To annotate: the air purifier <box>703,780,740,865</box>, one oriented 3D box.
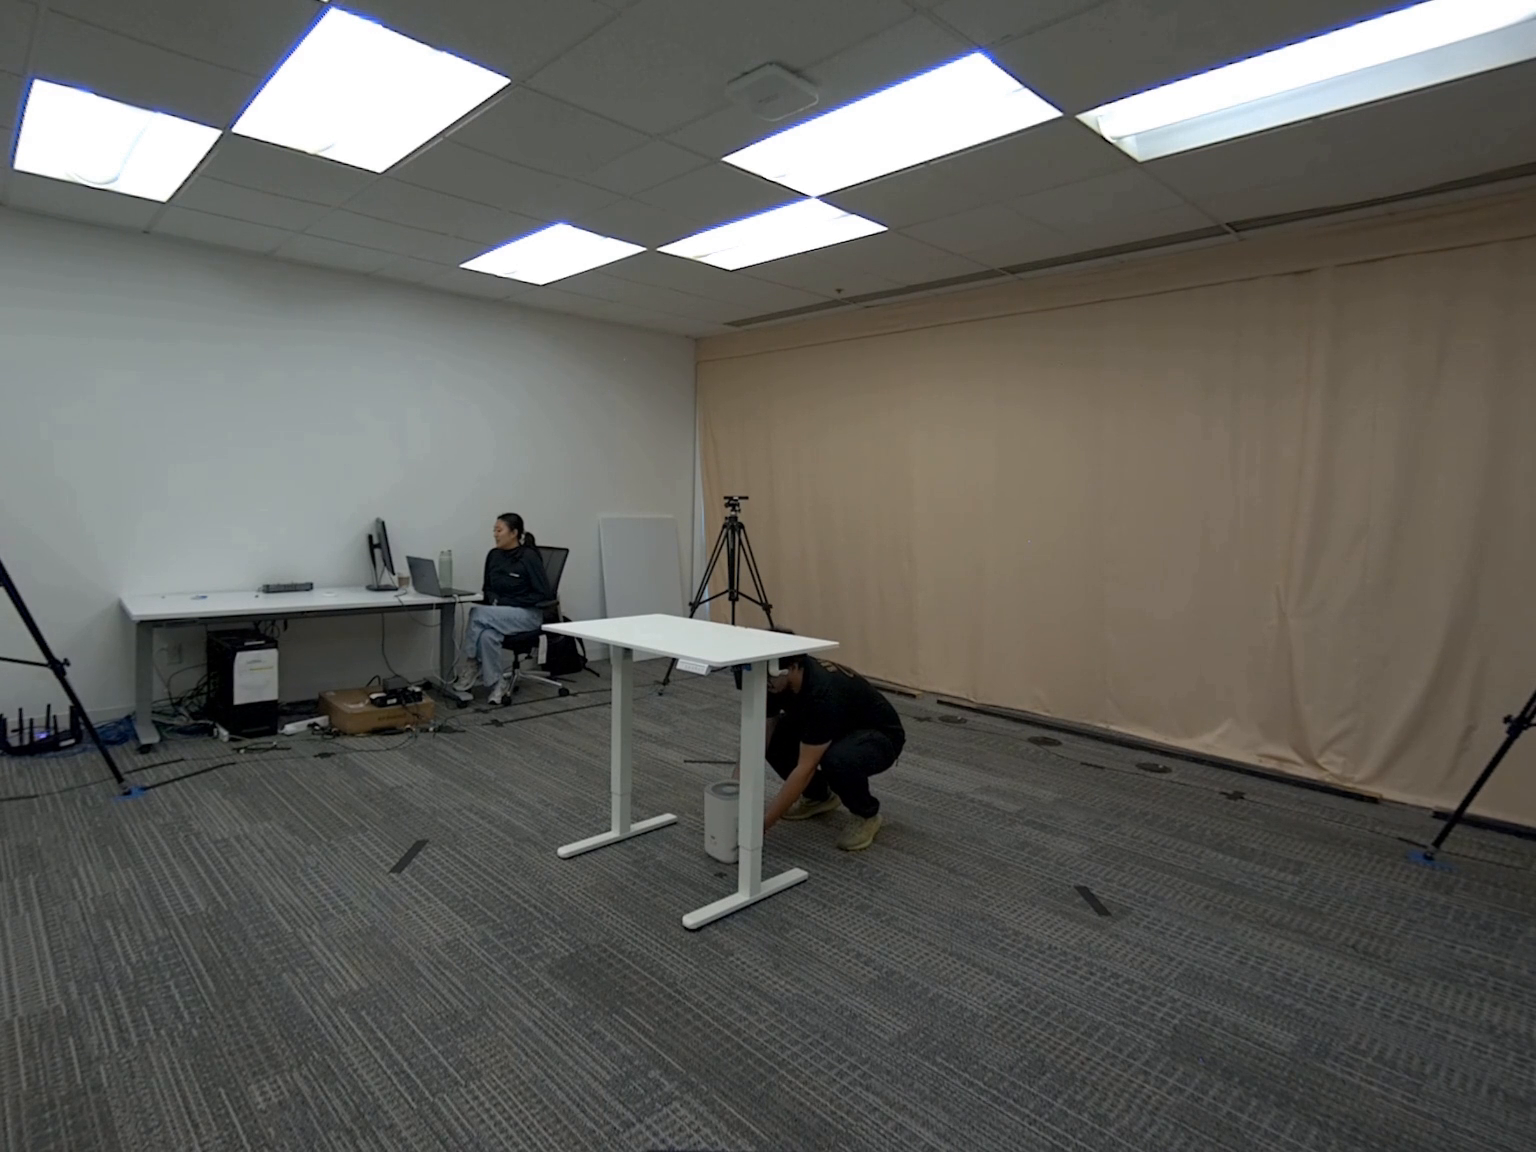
[{"bbox_3d":[-0.150,0.948,3.266,0.168,0.264,0.175,-5,9,-41],"label":"air purifier"}]
